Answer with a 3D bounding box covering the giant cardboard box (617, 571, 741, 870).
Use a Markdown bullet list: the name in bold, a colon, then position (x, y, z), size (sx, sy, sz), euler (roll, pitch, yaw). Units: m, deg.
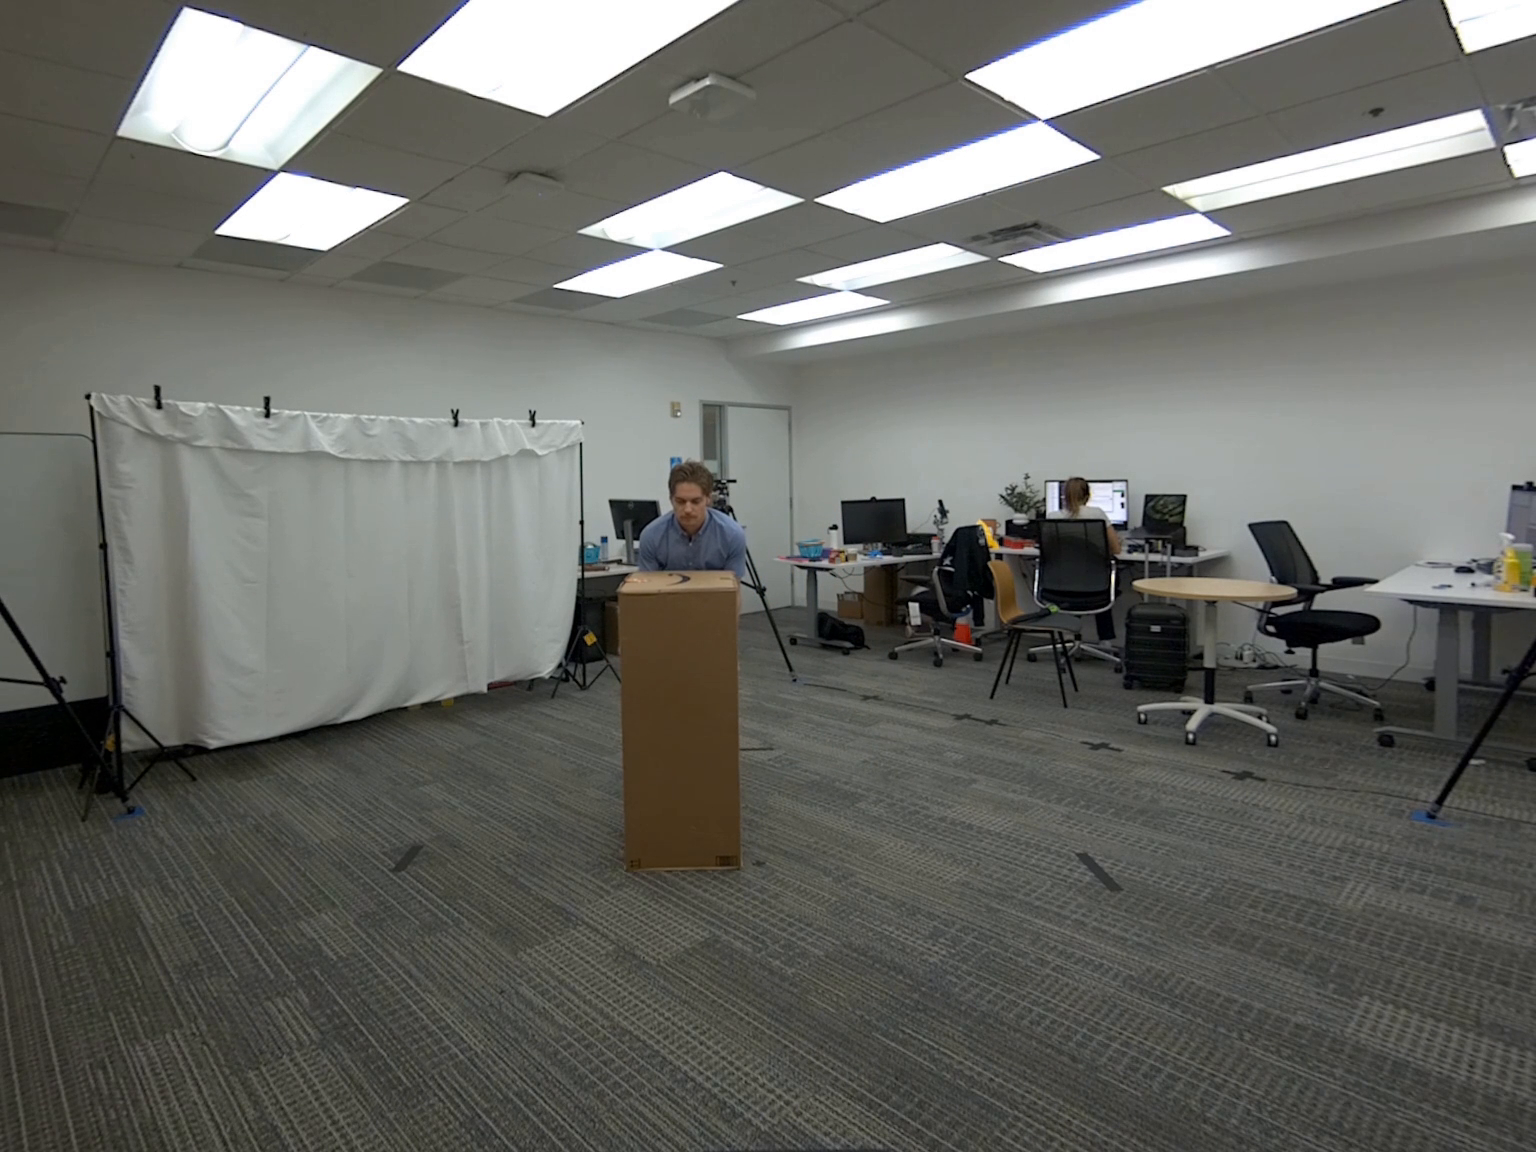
- **giant cardboard box**: position (-0.338, 0.525, 3.311), size (0.426, 1.022, 0.580), euler (-1, 4, -2)
